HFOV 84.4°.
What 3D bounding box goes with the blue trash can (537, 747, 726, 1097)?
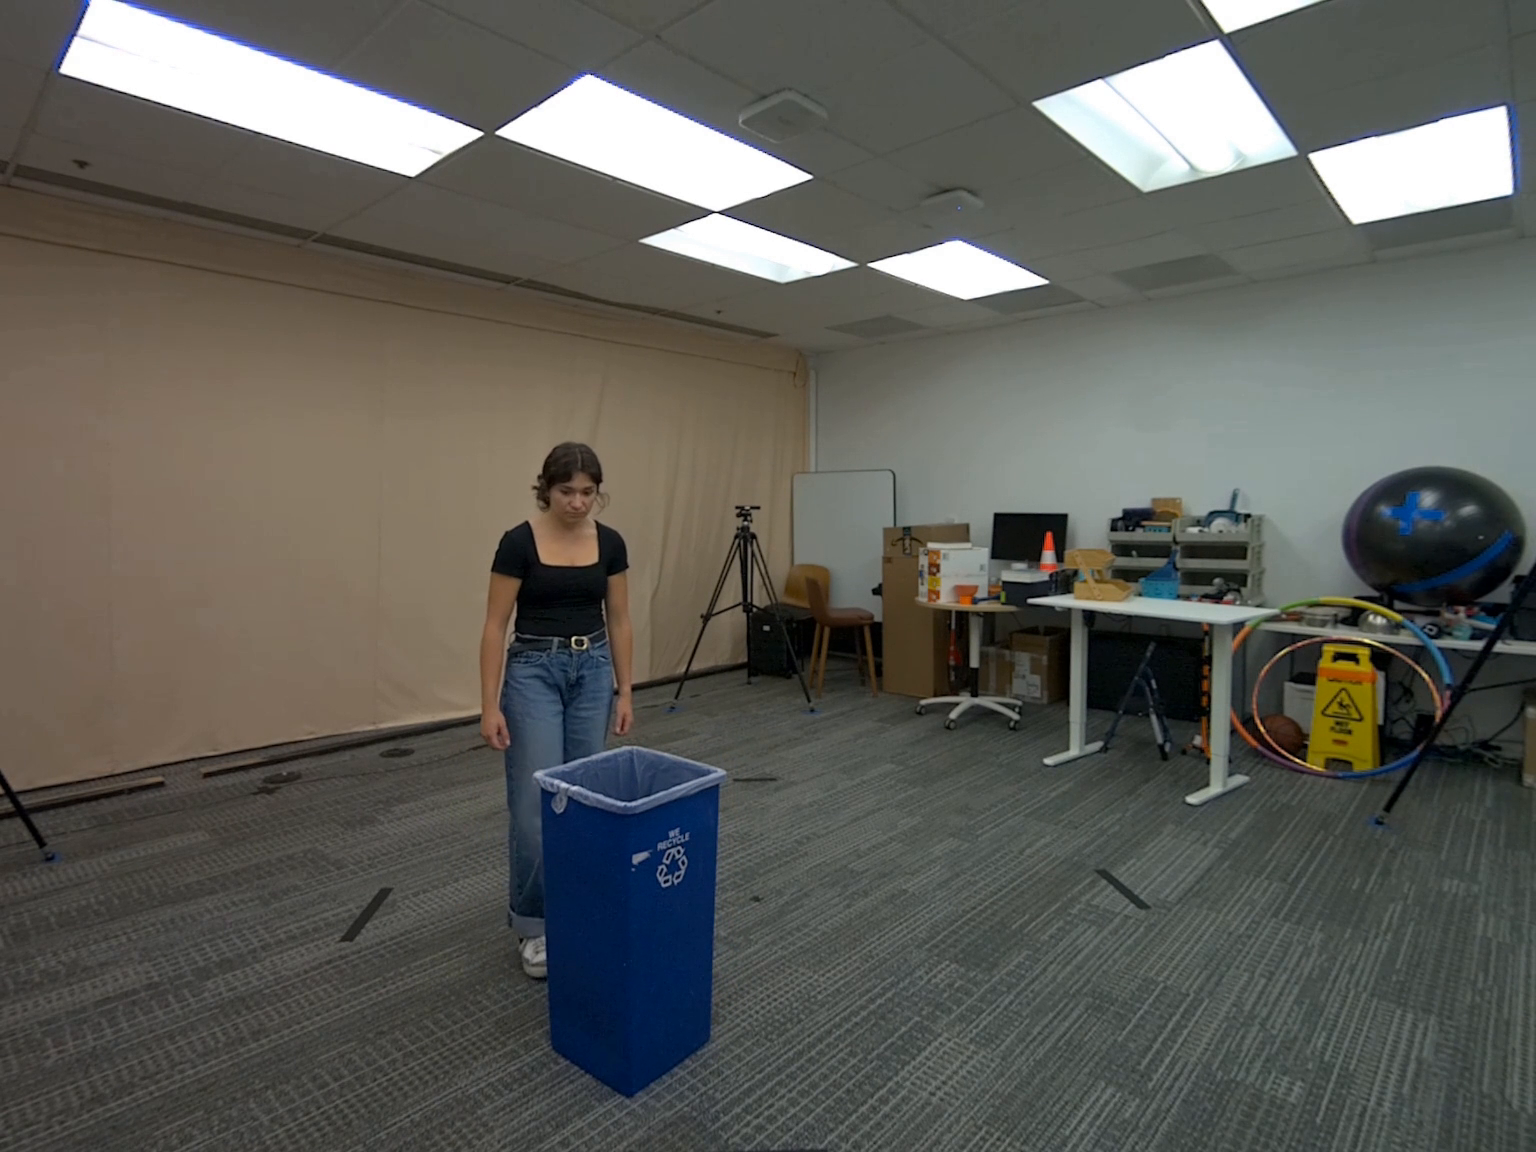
[{"bbox_3d":[-0.348,0.858,2.170,0.390,0.712,0.363,3,4,39],"label":"blue trash can"}]
